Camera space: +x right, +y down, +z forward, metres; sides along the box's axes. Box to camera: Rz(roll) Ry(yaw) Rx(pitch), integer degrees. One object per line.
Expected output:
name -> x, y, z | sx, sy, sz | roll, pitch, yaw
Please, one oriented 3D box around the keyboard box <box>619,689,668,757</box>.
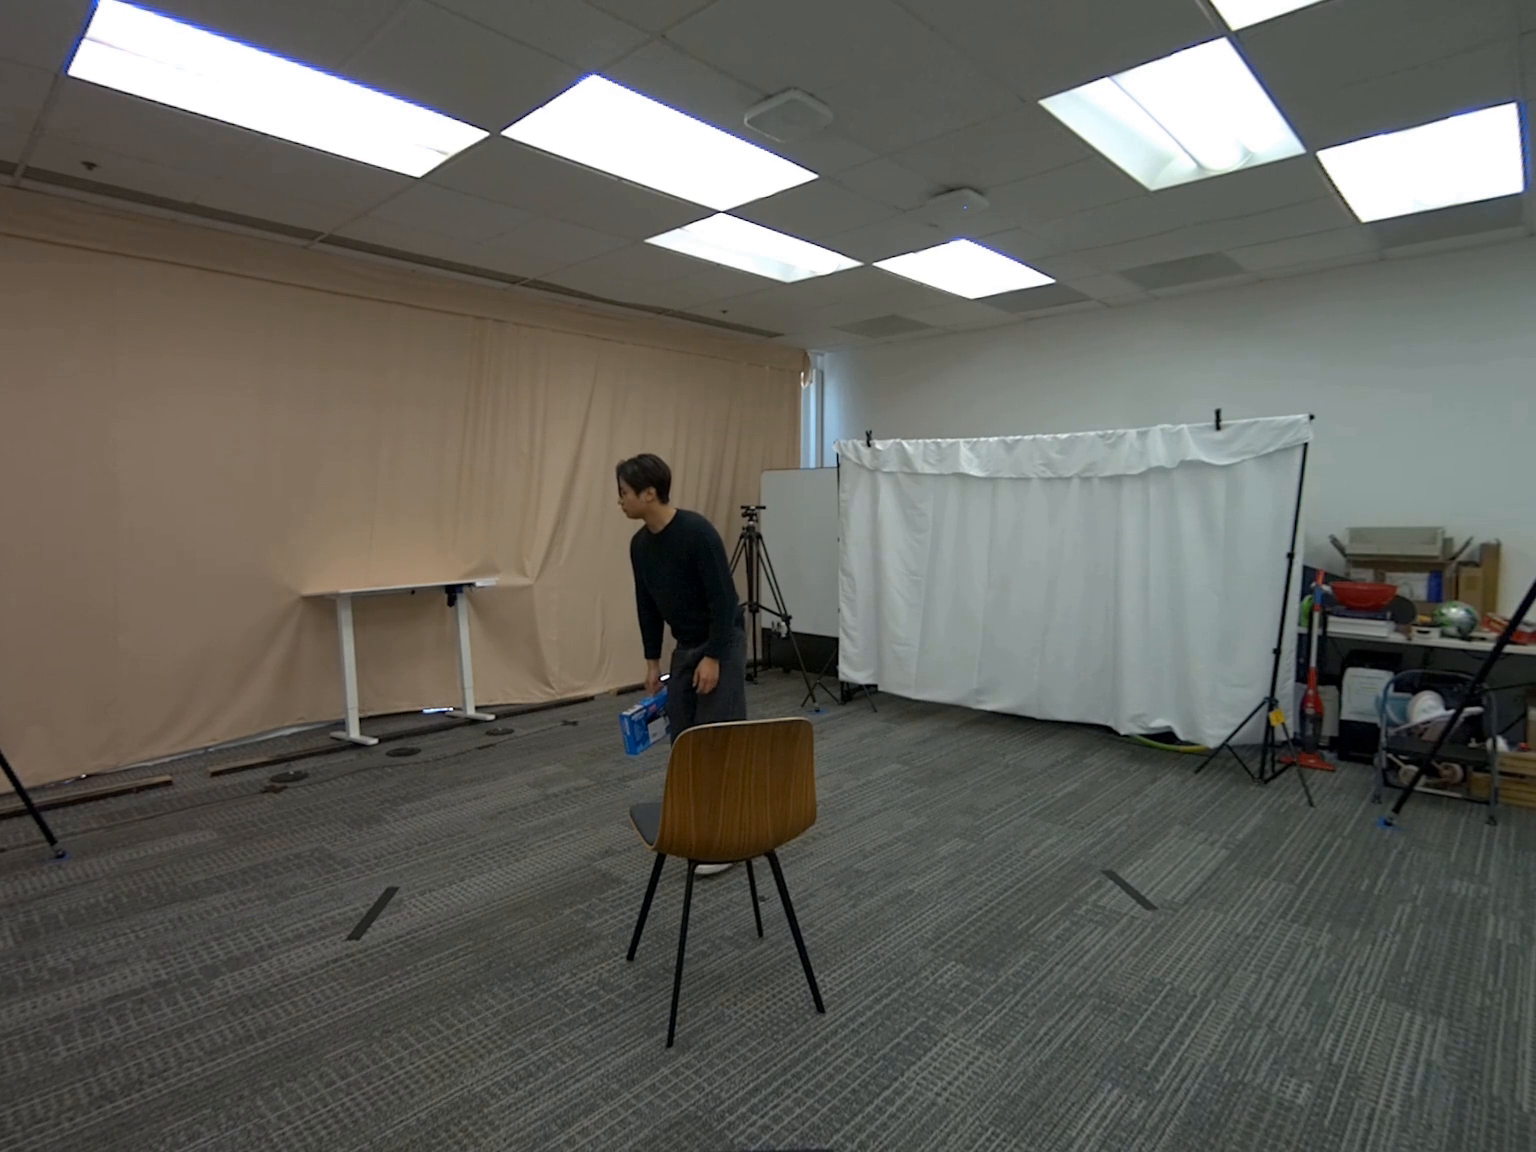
keyboard box -> -0.453, 0.591, 3.553 | 0.061, 0.174, 0.428 | -3, 13, 34
